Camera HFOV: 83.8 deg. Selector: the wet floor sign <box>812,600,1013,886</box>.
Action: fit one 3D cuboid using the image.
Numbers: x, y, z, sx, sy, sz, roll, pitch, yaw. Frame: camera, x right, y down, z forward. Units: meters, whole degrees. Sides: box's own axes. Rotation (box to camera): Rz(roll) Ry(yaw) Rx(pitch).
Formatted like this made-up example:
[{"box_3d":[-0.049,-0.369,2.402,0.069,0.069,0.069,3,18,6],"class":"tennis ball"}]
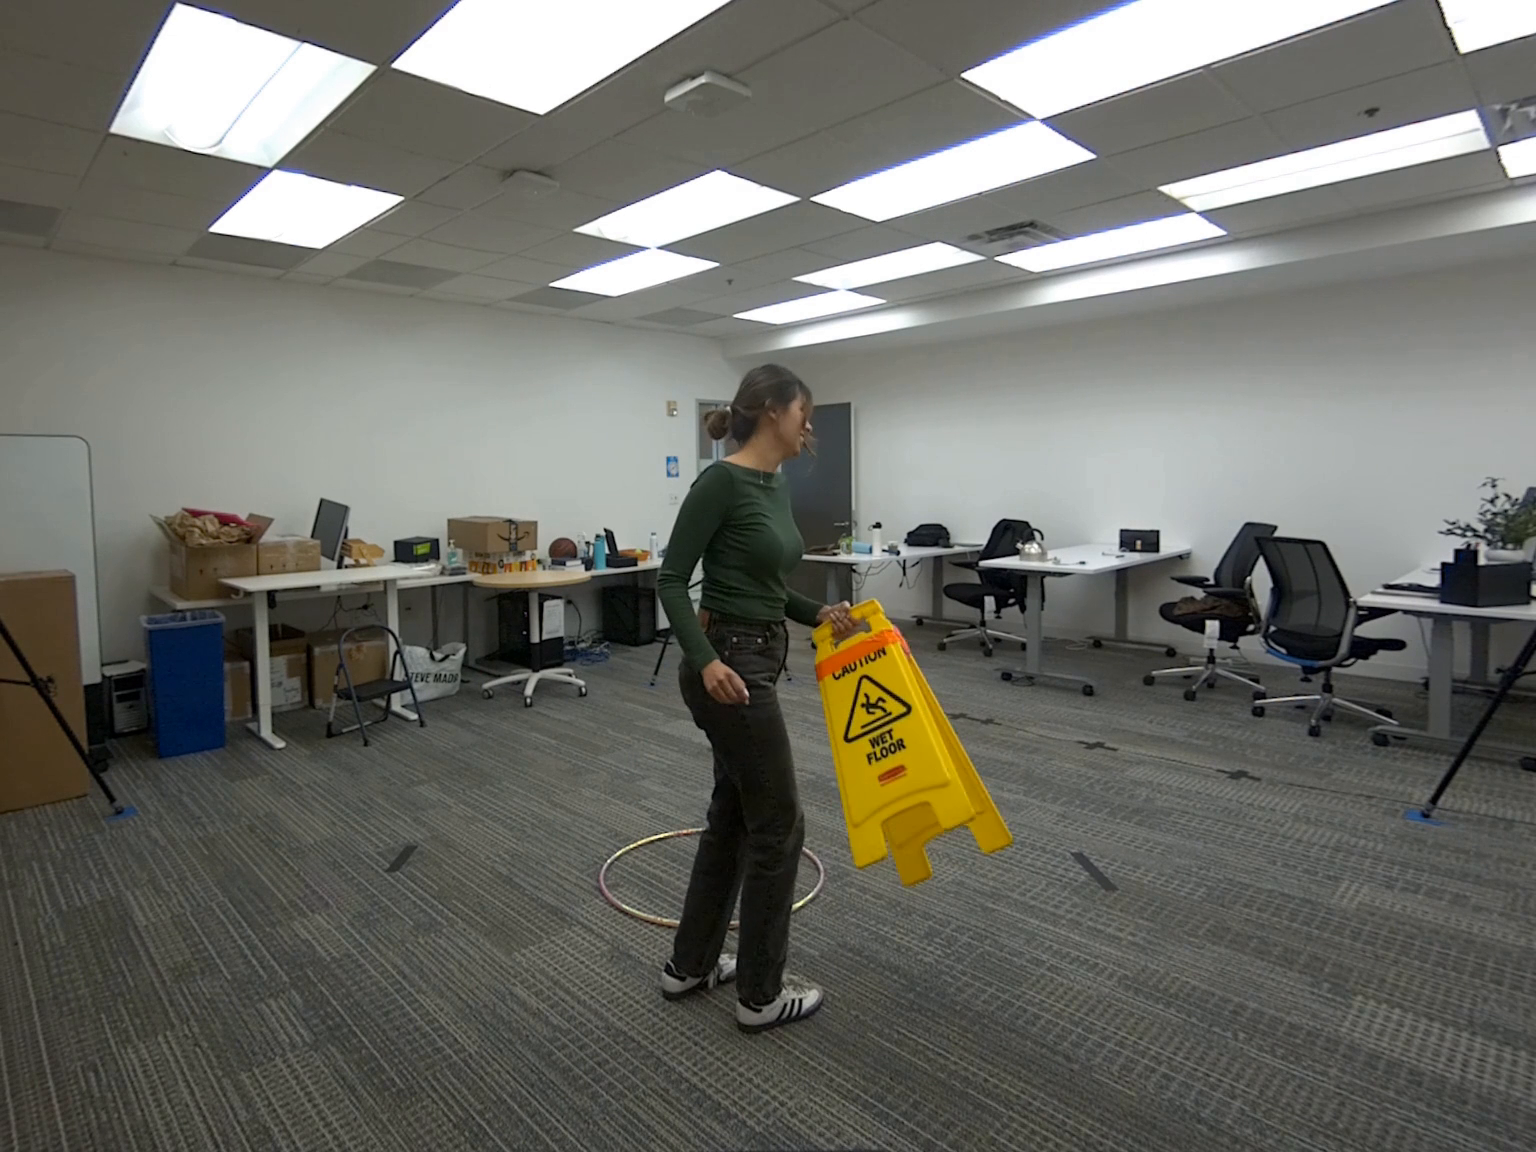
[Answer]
[{"box_3d":[0.286,0.355,2.089,0.284,0.668,0.278,-30,-38,15],"class":"wet floor sign"}]
